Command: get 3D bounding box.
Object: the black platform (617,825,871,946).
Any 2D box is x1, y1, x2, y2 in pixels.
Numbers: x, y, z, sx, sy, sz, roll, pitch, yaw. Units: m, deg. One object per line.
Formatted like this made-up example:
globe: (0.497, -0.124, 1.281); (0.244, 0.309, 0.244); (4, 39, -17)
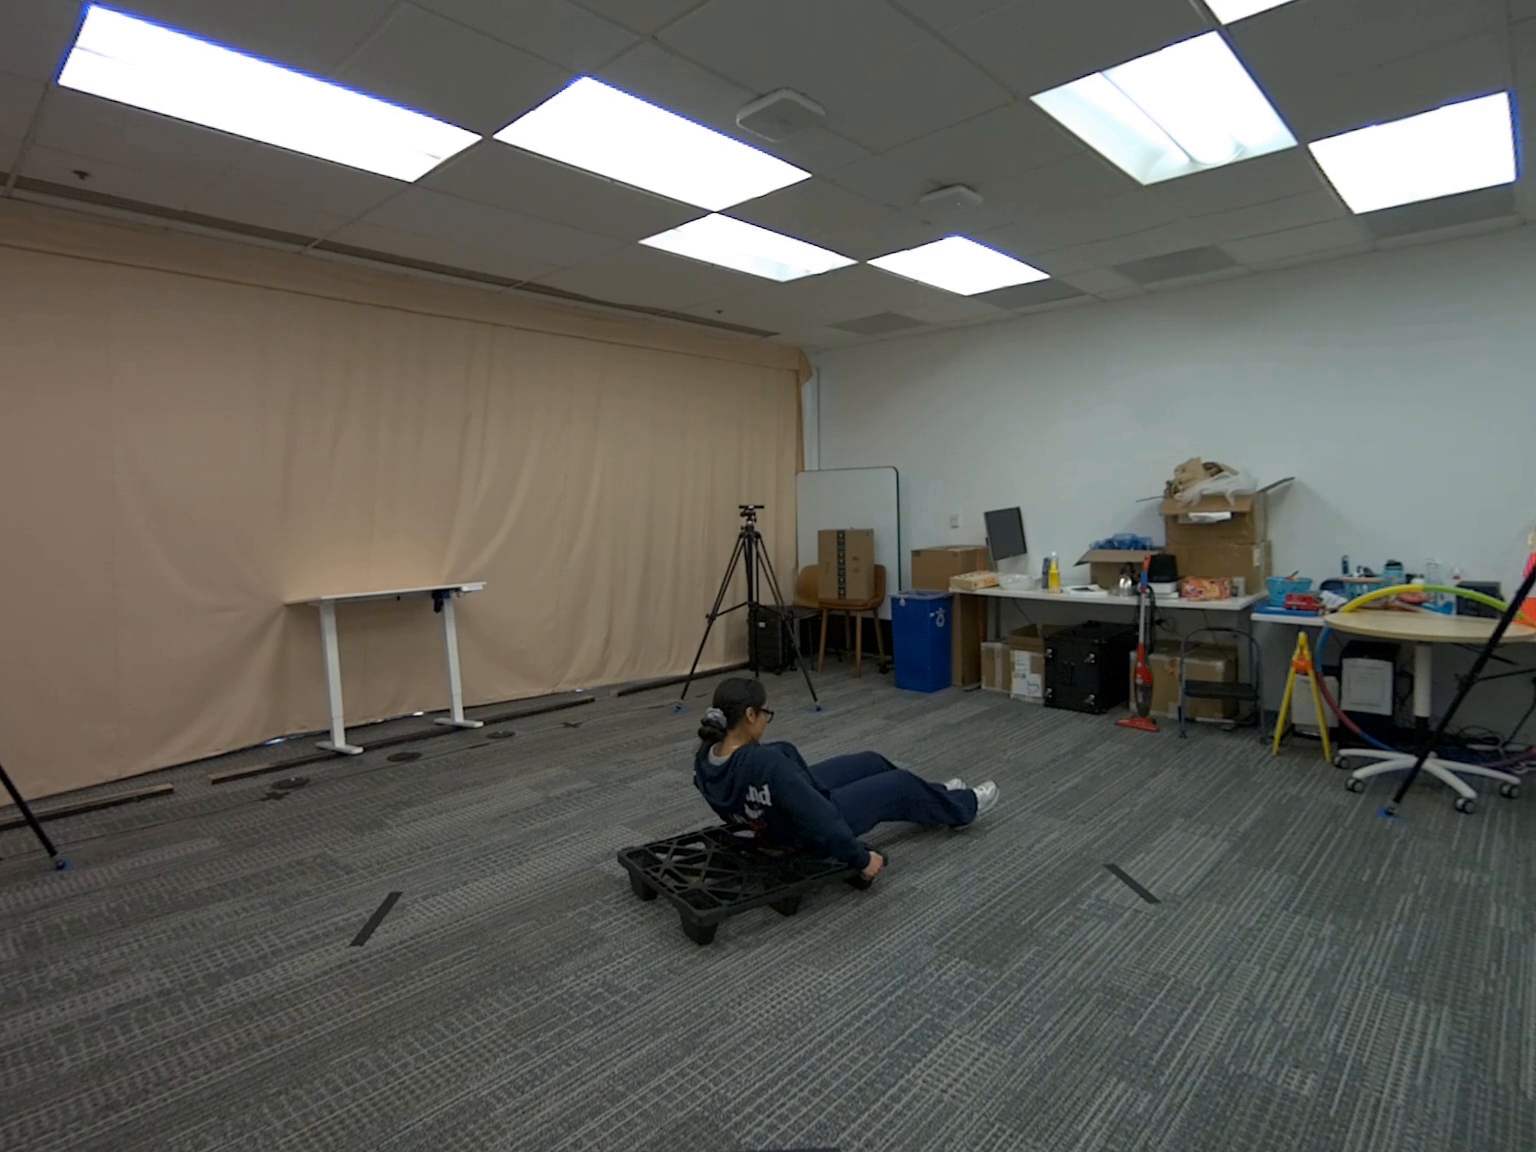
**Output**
black platform: (-0.065, 1.073, 3.047); (0.783, 0.143, 0.623); (-3, 5, -33)
